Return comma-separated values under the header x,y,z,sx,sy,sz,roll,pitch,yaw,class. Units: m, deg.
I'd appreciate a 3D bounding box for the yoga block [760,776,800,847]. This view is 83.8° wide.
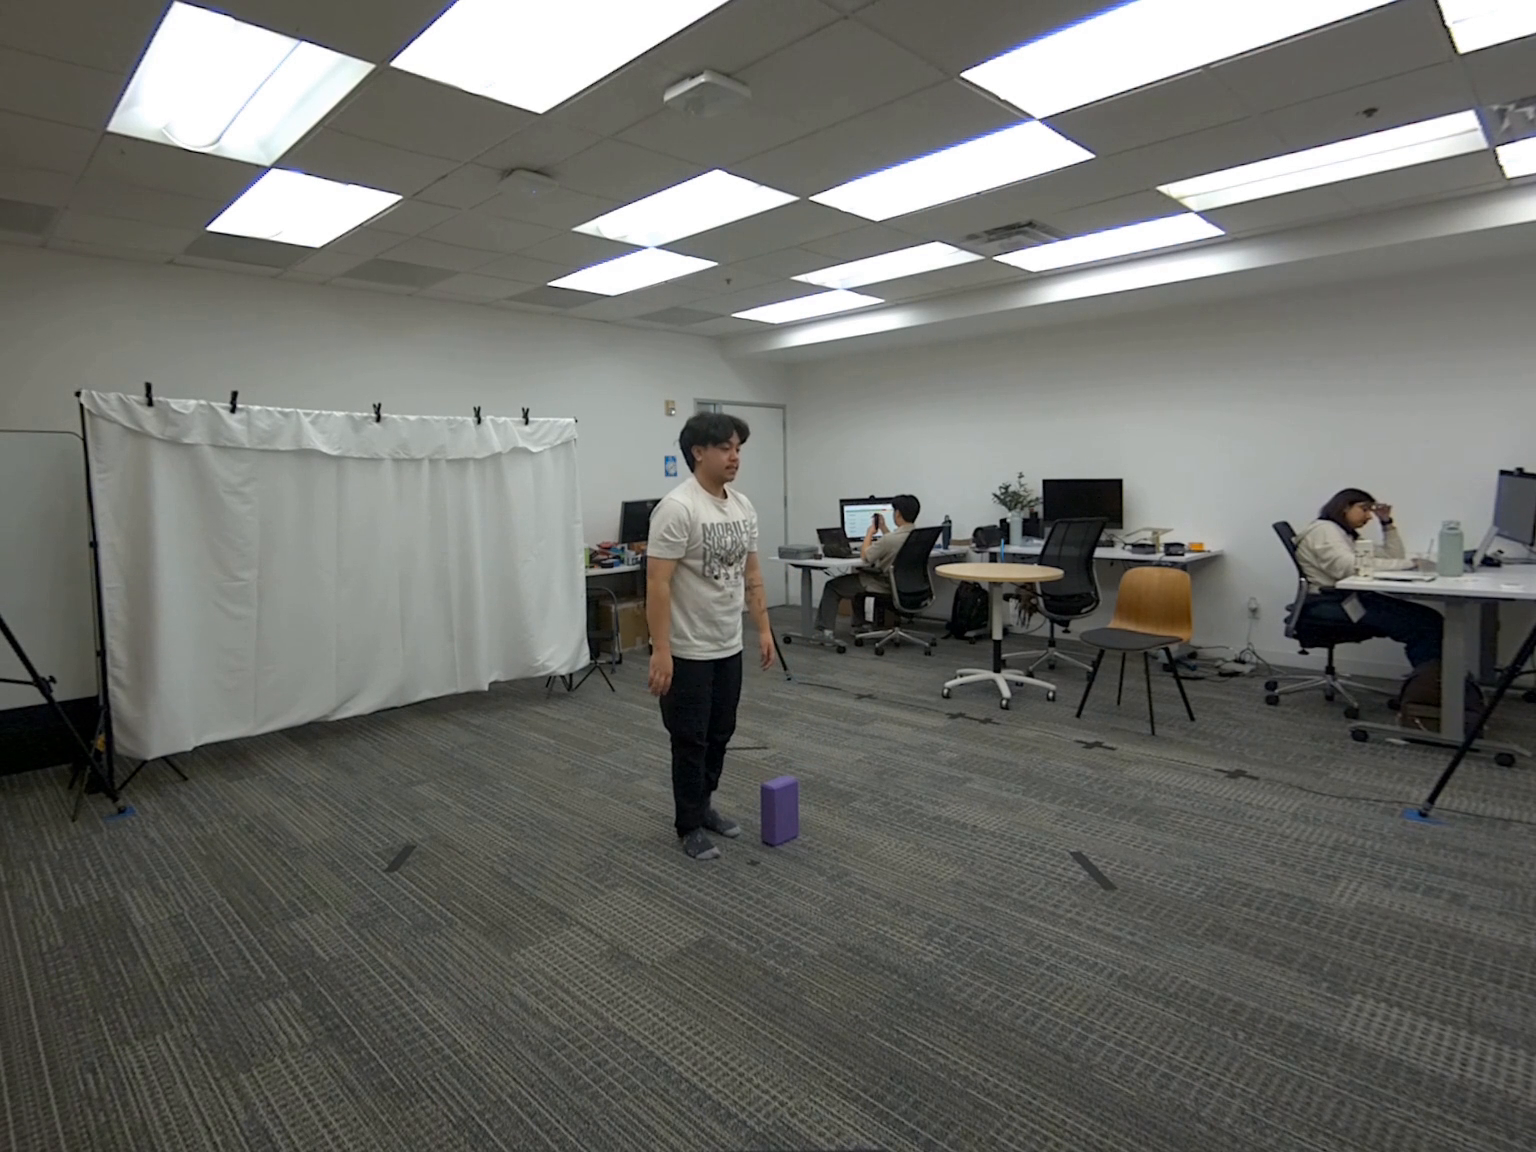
x,y,z,sx,sy,sz,roll,pitch,yaw,class
0.045,0.896,3.297,0.079,0.229,0.145,4,5,44,yoga block
